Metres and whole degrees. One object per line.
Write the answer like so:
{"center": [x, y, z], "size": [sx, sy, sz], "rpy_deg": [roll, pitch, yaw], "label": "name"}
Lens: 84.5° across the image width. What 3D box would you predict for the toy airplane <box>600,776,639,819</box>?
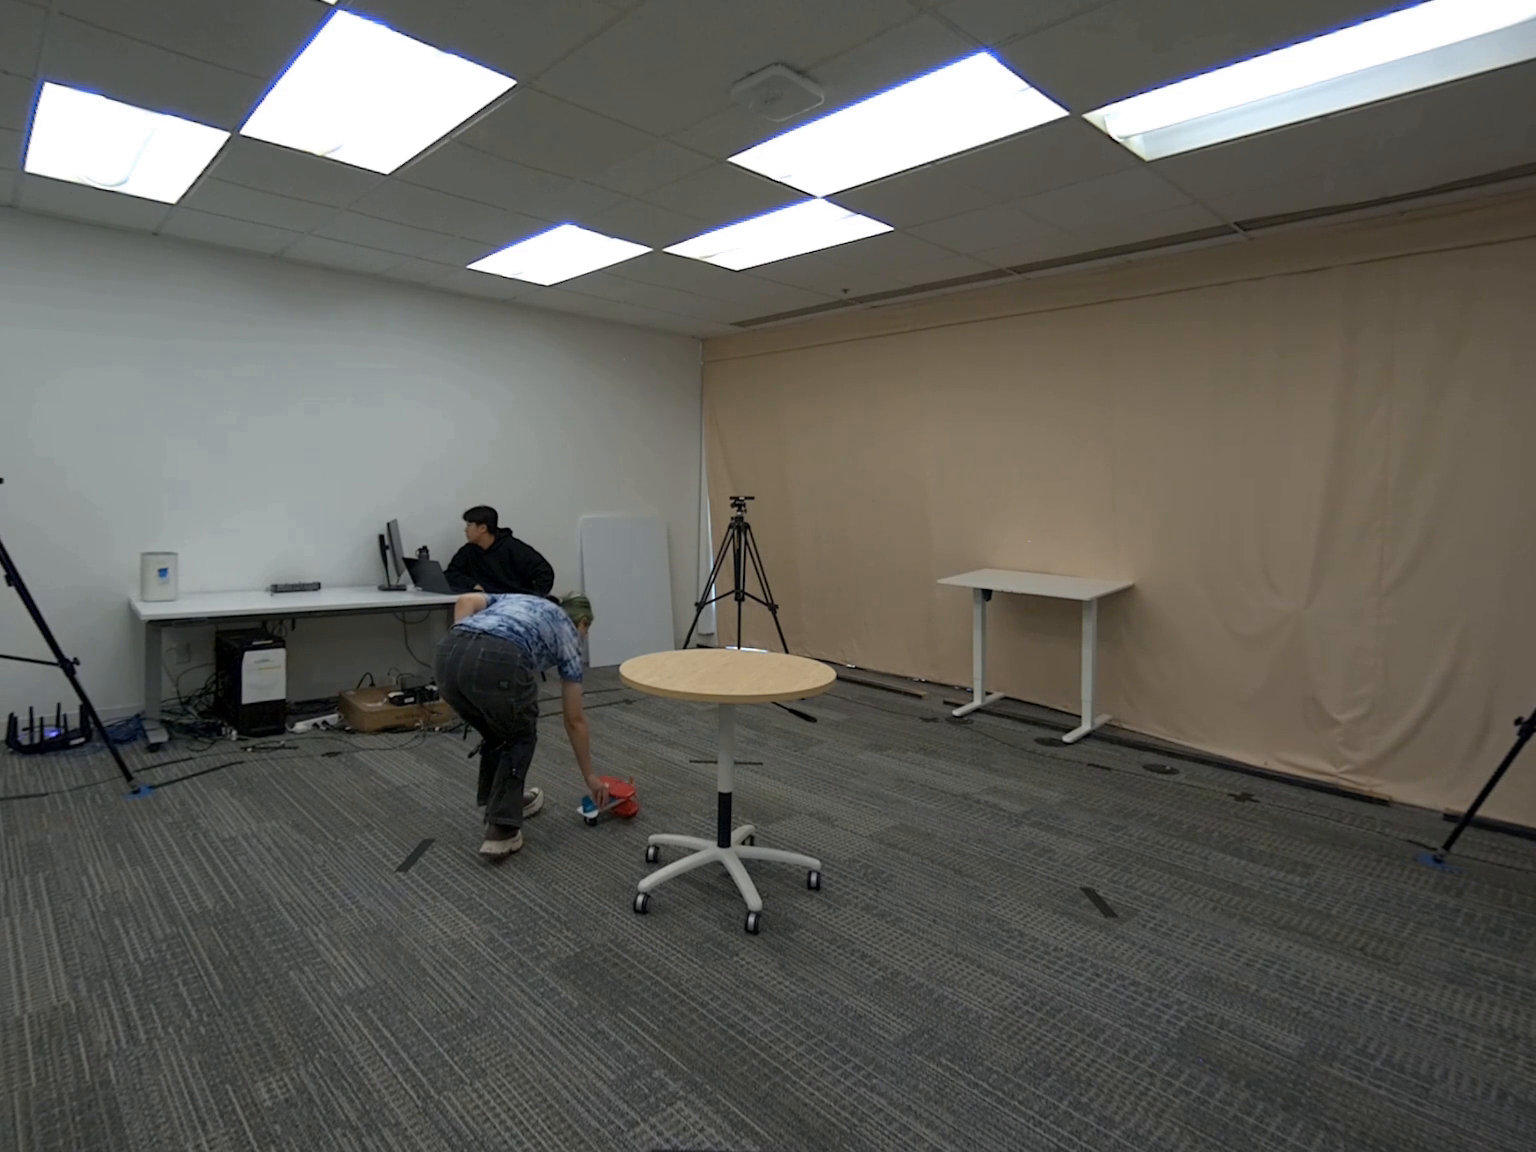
{"center": [-0.680, 0.973, 3.603], "size": [0.255, 0.156, 0.256], "rpy_deg": [2, 3, 17], "label": "toy airplane"}
